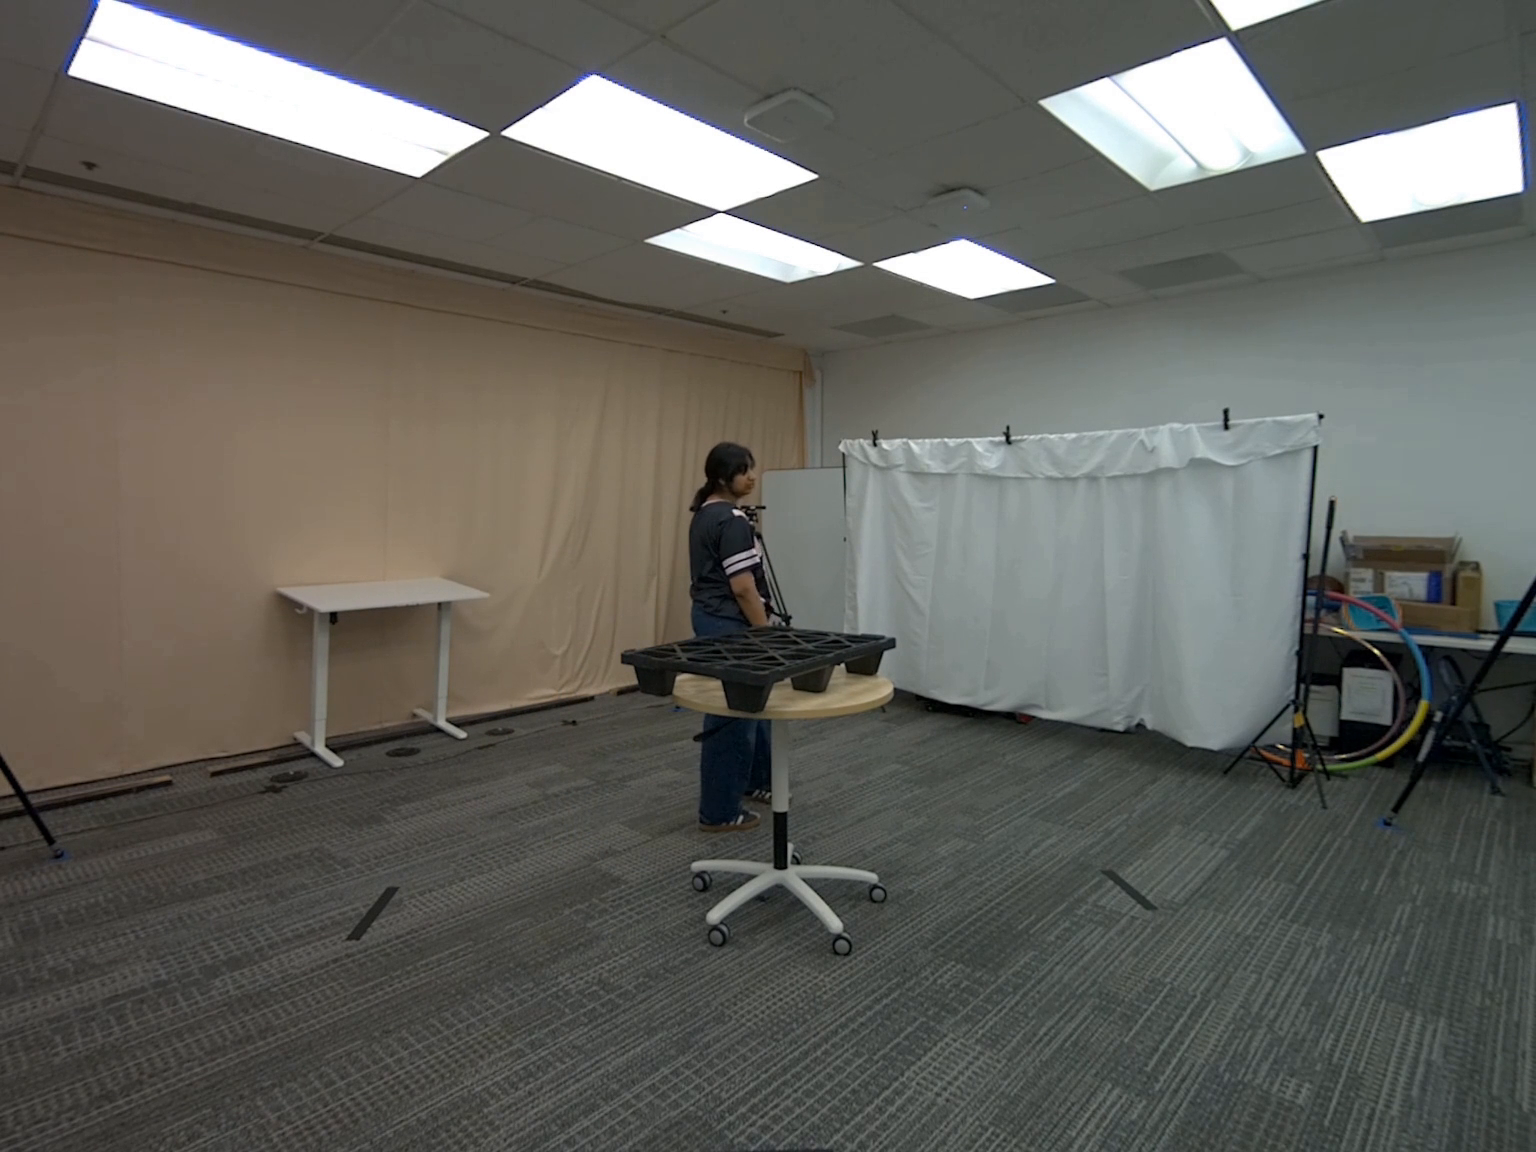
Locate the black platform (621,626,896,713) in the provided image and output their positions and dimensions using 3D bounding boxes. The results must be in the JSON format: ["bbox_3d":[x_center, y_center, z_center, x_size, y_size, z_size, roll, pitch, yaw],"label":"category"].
[{"bbox_3d":[-0.015,0.304,2.880,0.625,0.143,0.781,3,5,38],"label":"black platform"}]
